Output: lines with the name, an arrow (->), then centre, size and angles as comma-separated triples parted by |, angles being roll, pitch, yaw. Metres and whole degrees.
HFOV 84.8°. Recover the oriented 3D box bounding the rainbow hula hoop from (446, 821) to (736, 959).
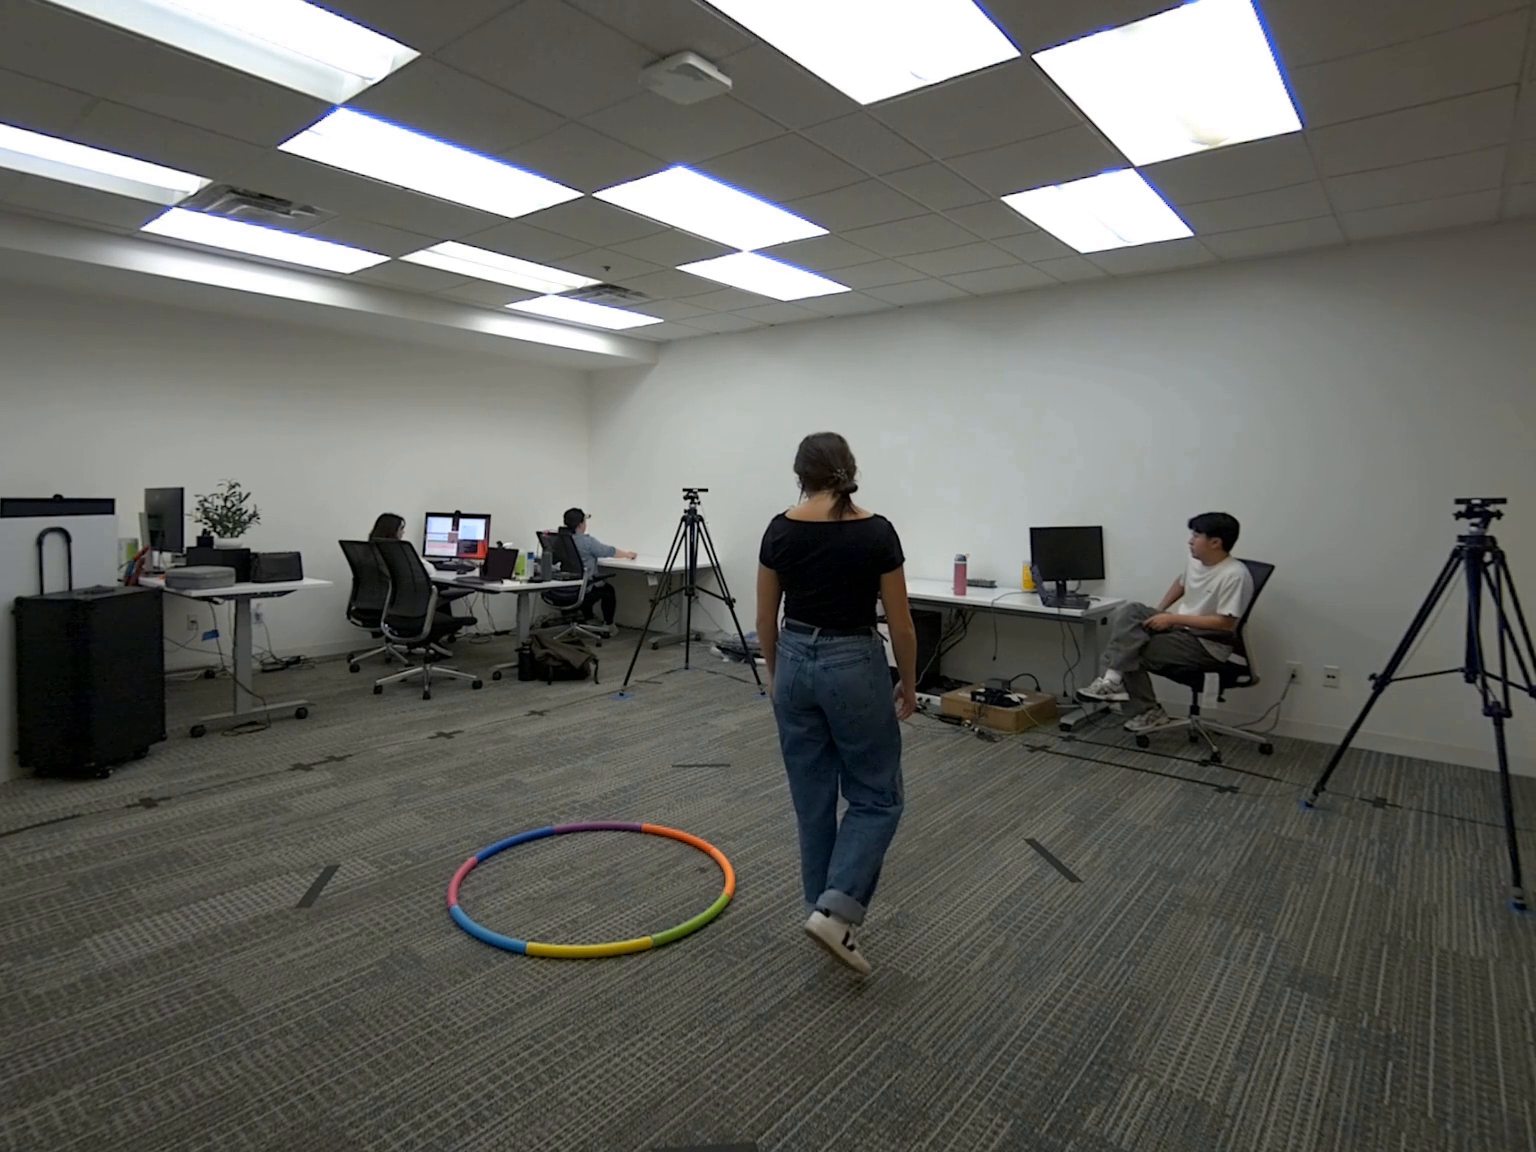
rainbow hula hoop -> -0.603, 1.041, 2.986 | 0.978, 0.035, 0.984 | 1, 6, -2
